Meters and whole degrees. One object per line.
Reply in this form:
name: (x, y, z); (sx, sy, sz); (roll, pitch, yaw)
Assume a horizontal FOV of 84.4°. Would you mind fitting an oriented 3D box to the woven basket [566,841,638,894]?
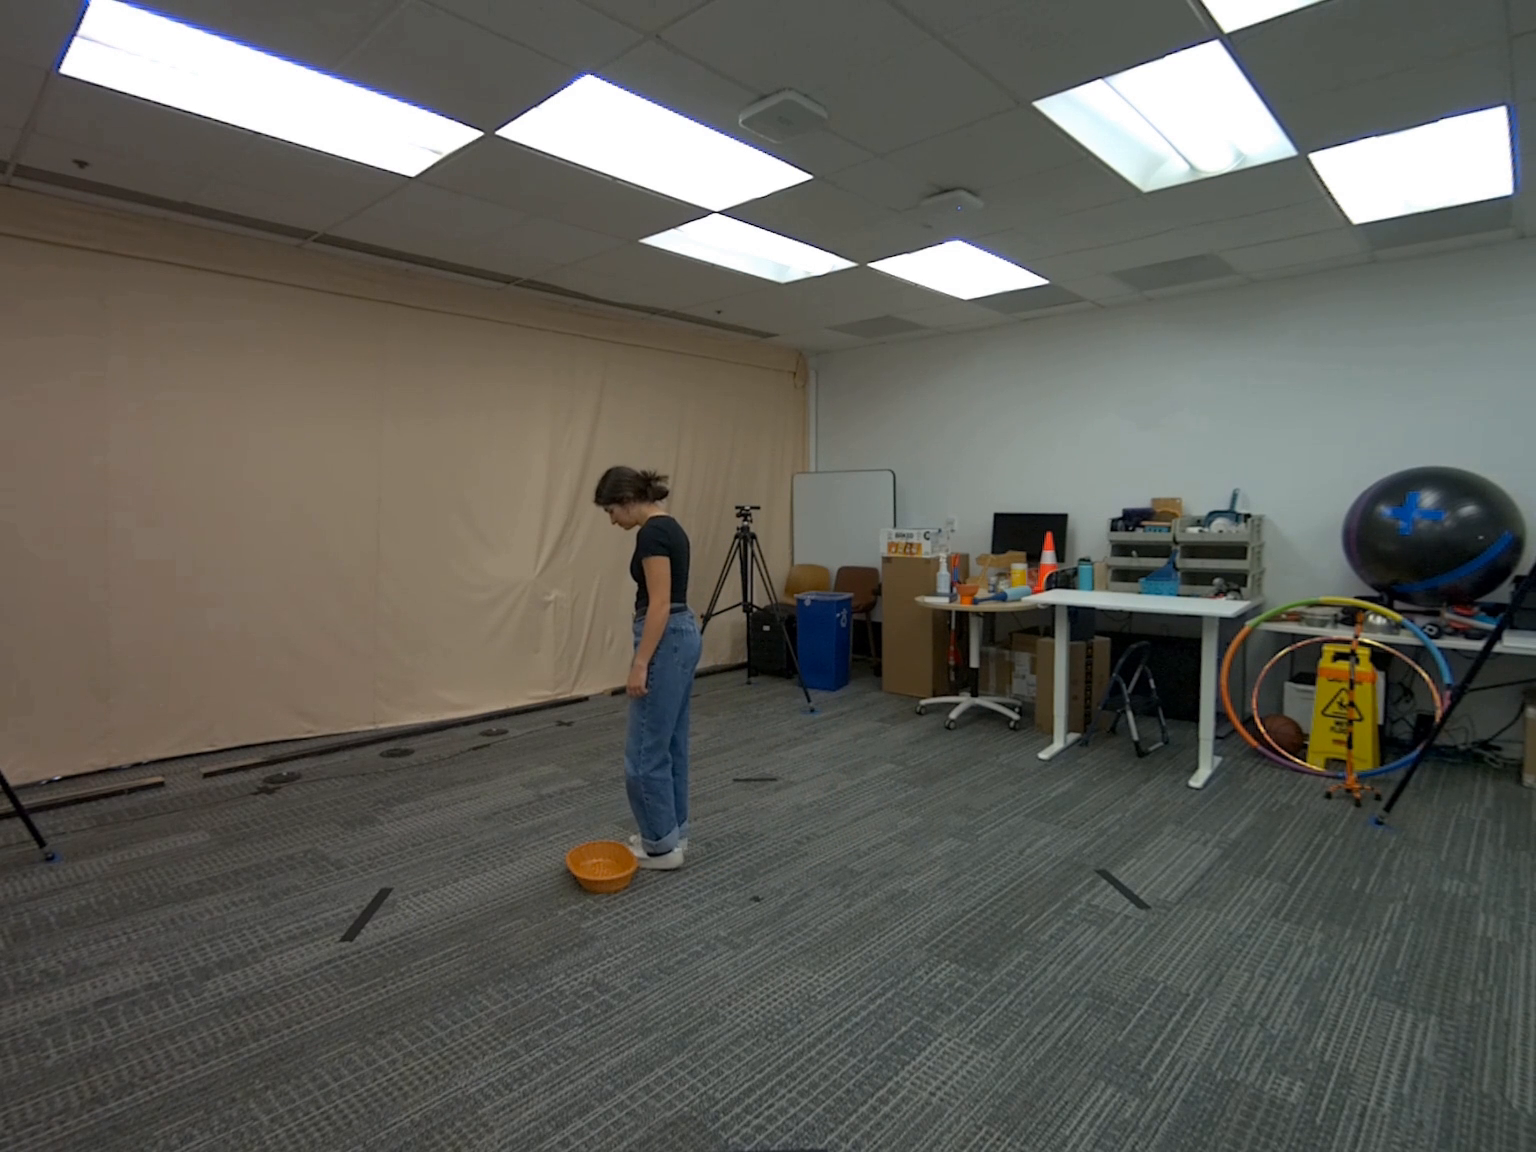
woven basket: (-0.628, 1.093, 3.166); (0.246, 0.073, 0.360); (-5, 6, -27)
